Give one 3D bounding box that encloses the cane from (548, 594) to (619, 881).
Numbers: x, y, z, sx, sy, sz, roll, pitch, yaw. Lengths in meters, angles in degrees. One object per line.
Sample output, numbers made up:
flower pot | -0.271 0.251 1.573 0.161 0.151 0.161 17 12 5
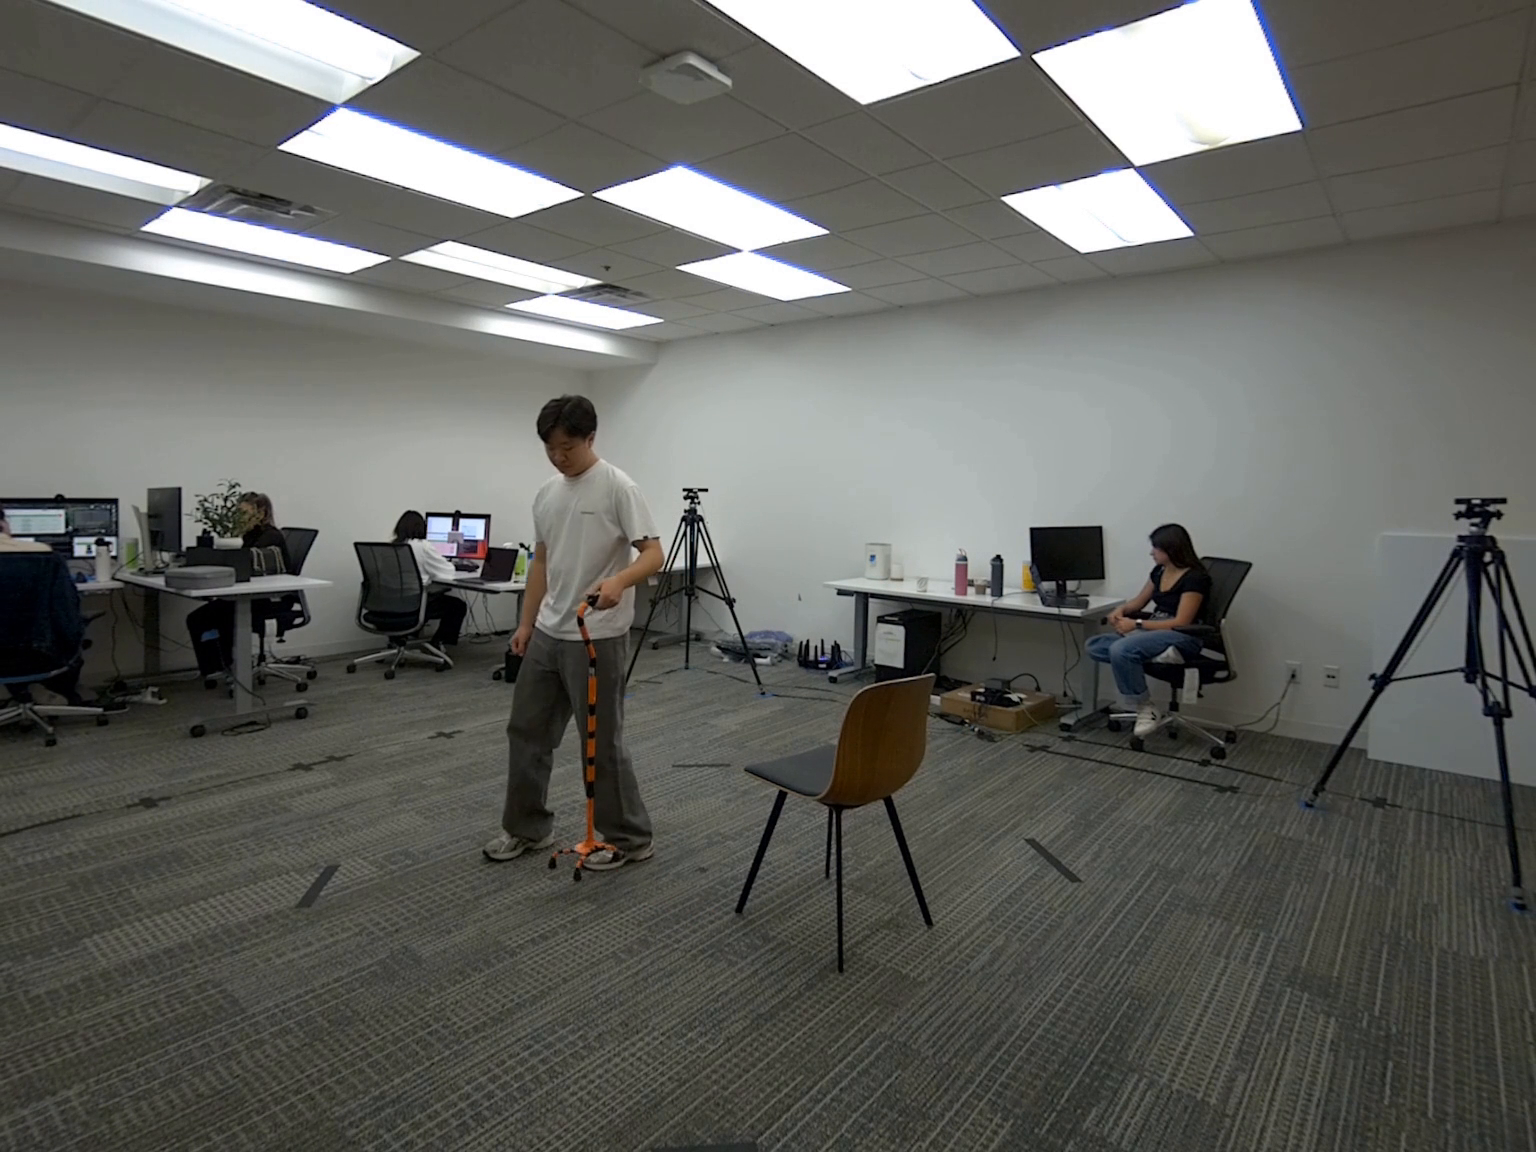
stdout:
cane | -0.614 0.531 2.817 0.157 0.903 0.200 5 7 40
